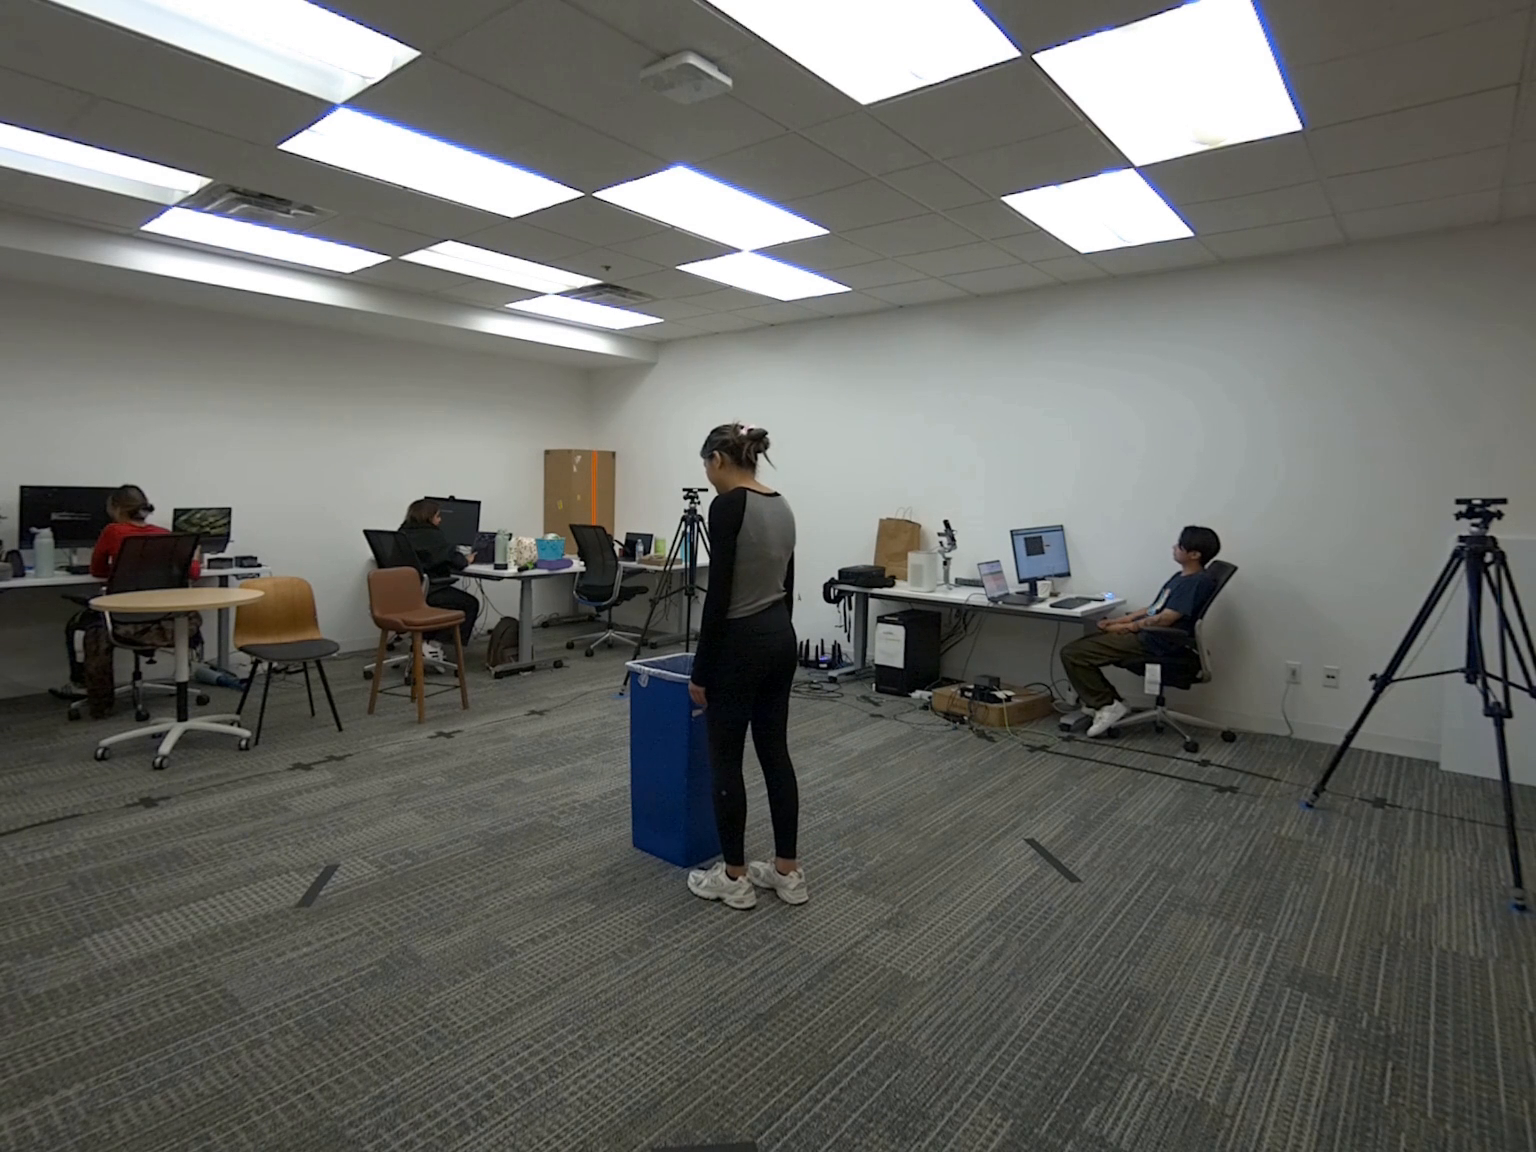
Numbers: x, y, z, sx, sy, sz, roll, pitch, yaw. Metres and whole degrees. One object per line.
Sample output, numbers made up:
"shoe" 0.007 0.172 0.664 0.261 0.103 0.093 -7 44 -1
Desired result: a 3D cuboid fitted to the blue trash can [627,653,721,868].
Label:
"blue trash can" -0.326 0.690 3.309 0.391 0.711 0.363 4 4 40
